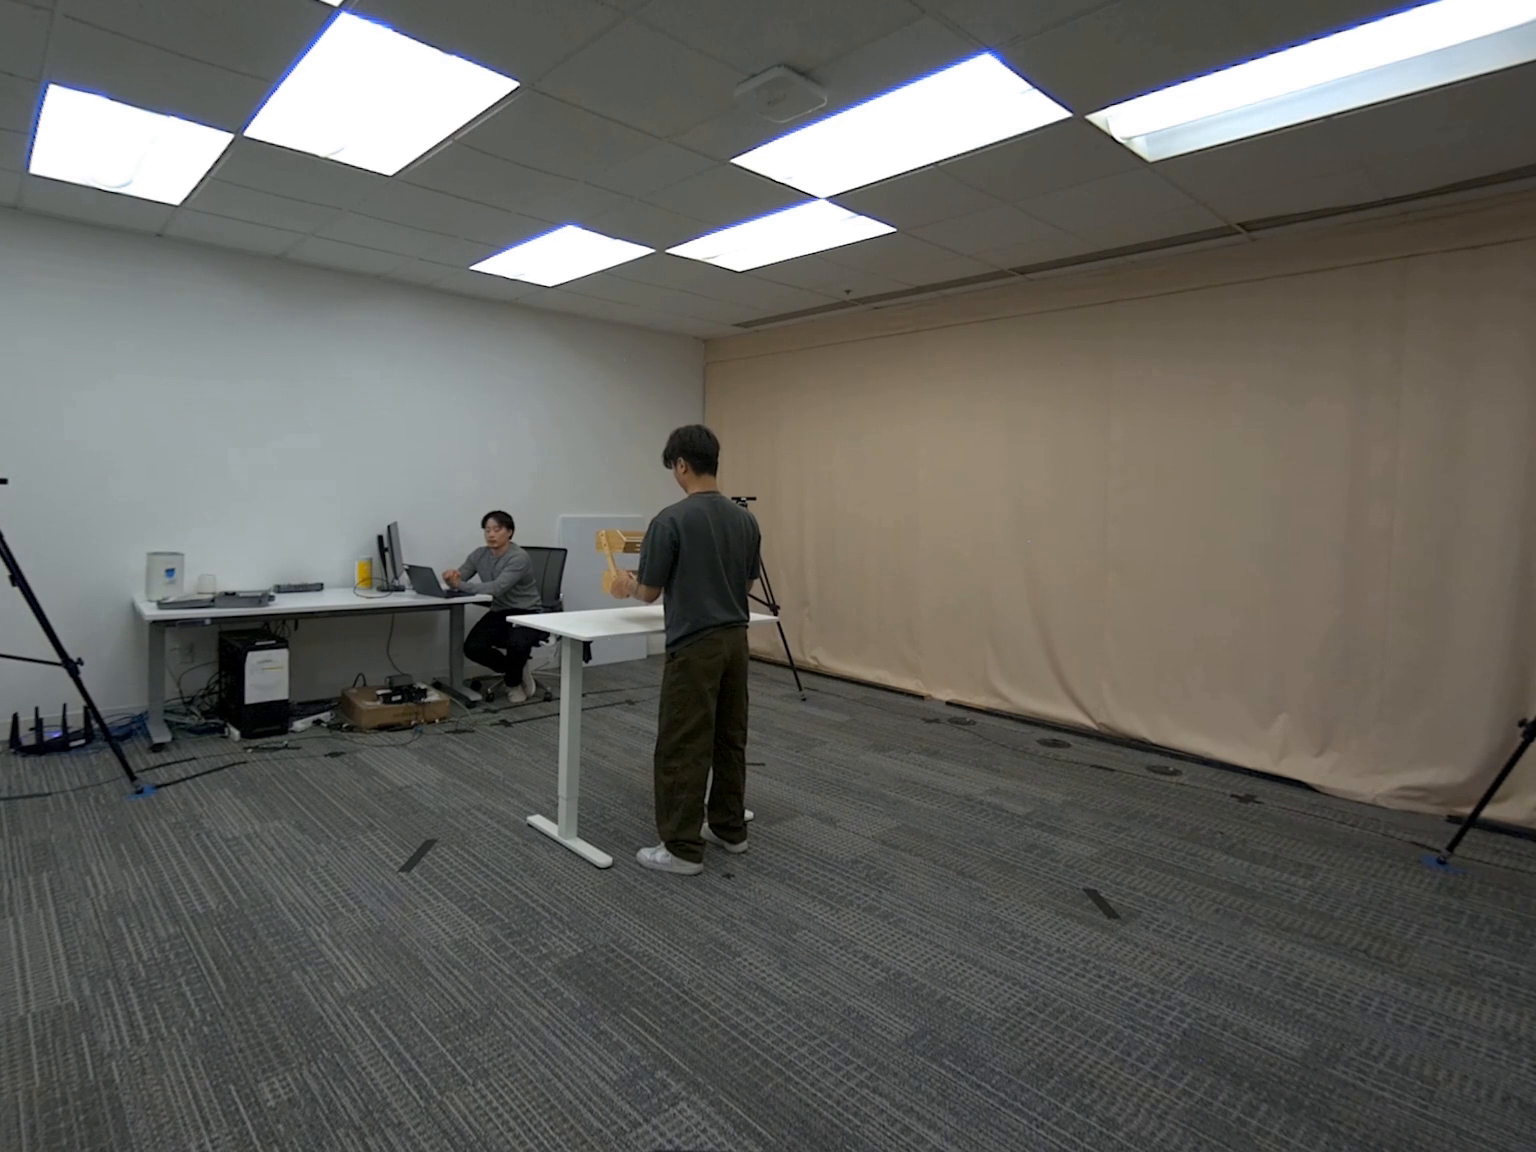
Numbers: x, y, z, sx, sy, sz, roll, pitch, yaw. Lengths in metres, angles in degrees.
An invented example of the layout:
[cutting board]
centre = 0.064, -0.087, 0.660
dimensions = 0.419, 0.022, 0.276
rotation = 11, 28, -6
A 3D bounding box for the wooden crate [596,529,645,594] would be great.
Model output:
[wooden crate]
centre = -0.518, -0.061, 3.527
dimensions = 0.317, 0.273, 0.309
rotation = 0, 2, -45
